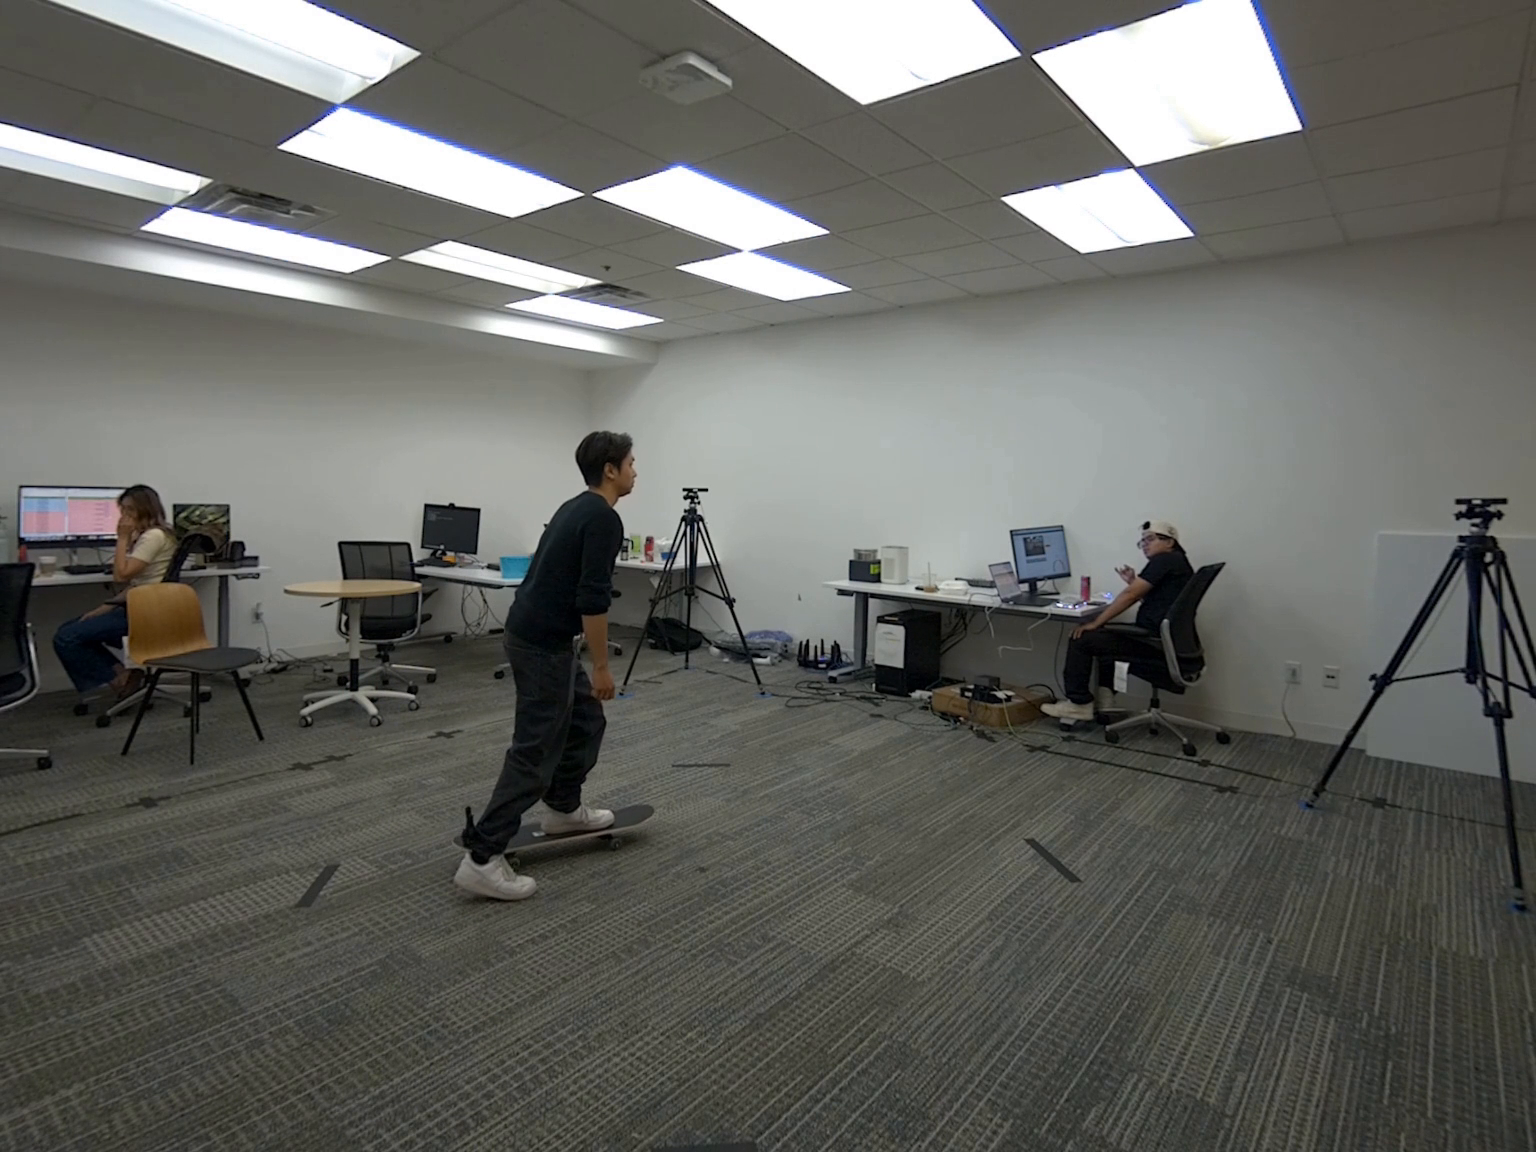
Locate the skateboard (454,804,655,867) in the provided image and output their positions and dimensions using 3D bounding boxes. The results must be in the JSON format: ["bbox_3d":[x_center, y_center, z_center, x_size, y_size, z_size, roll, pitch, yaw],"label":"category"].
[{"bbox_3d":[-0.805,0.994,3.242,0.765,0.110,0.199,-2,6,-29],"label":"skateboard"}]
